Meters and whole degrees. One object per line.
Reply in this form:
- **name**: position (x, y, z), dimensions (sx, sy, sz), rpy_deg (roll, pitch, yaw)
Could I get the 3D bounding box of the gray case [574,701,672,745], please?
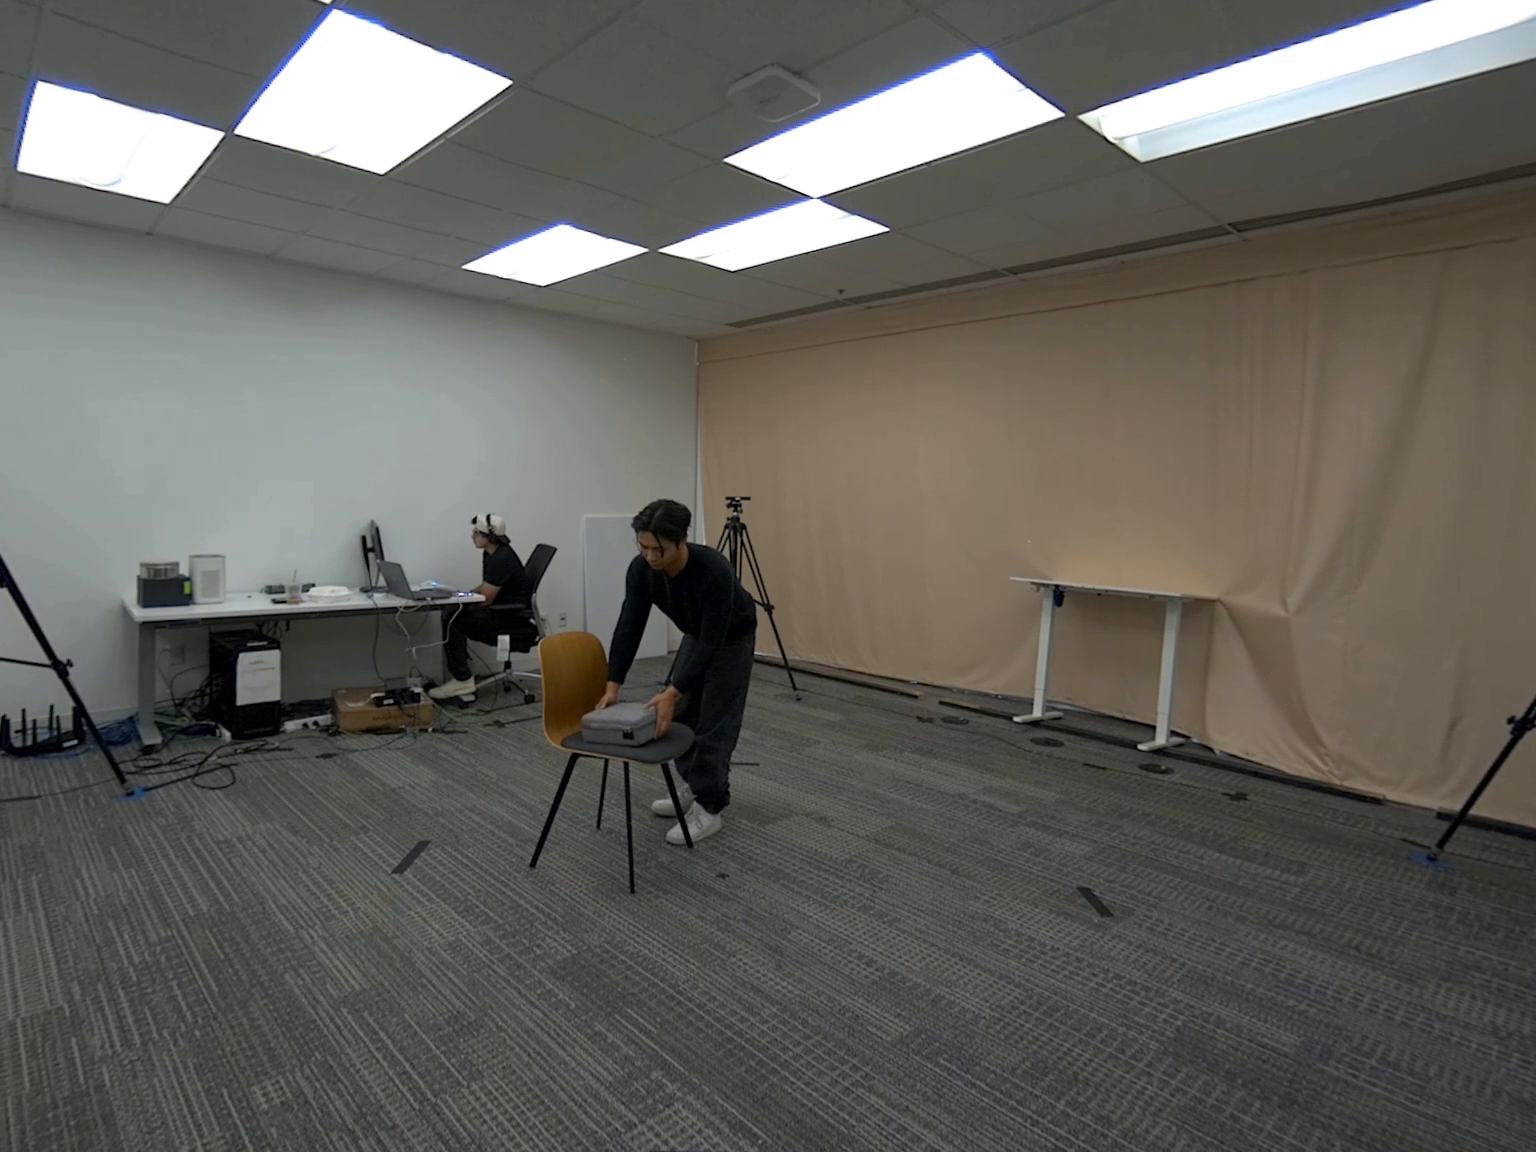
- **gray case**: position (-0.539, 0.543, 3.163), dimensions (0.261, 0.104, 0.256), rpy_deg (-3, 0, 24)
